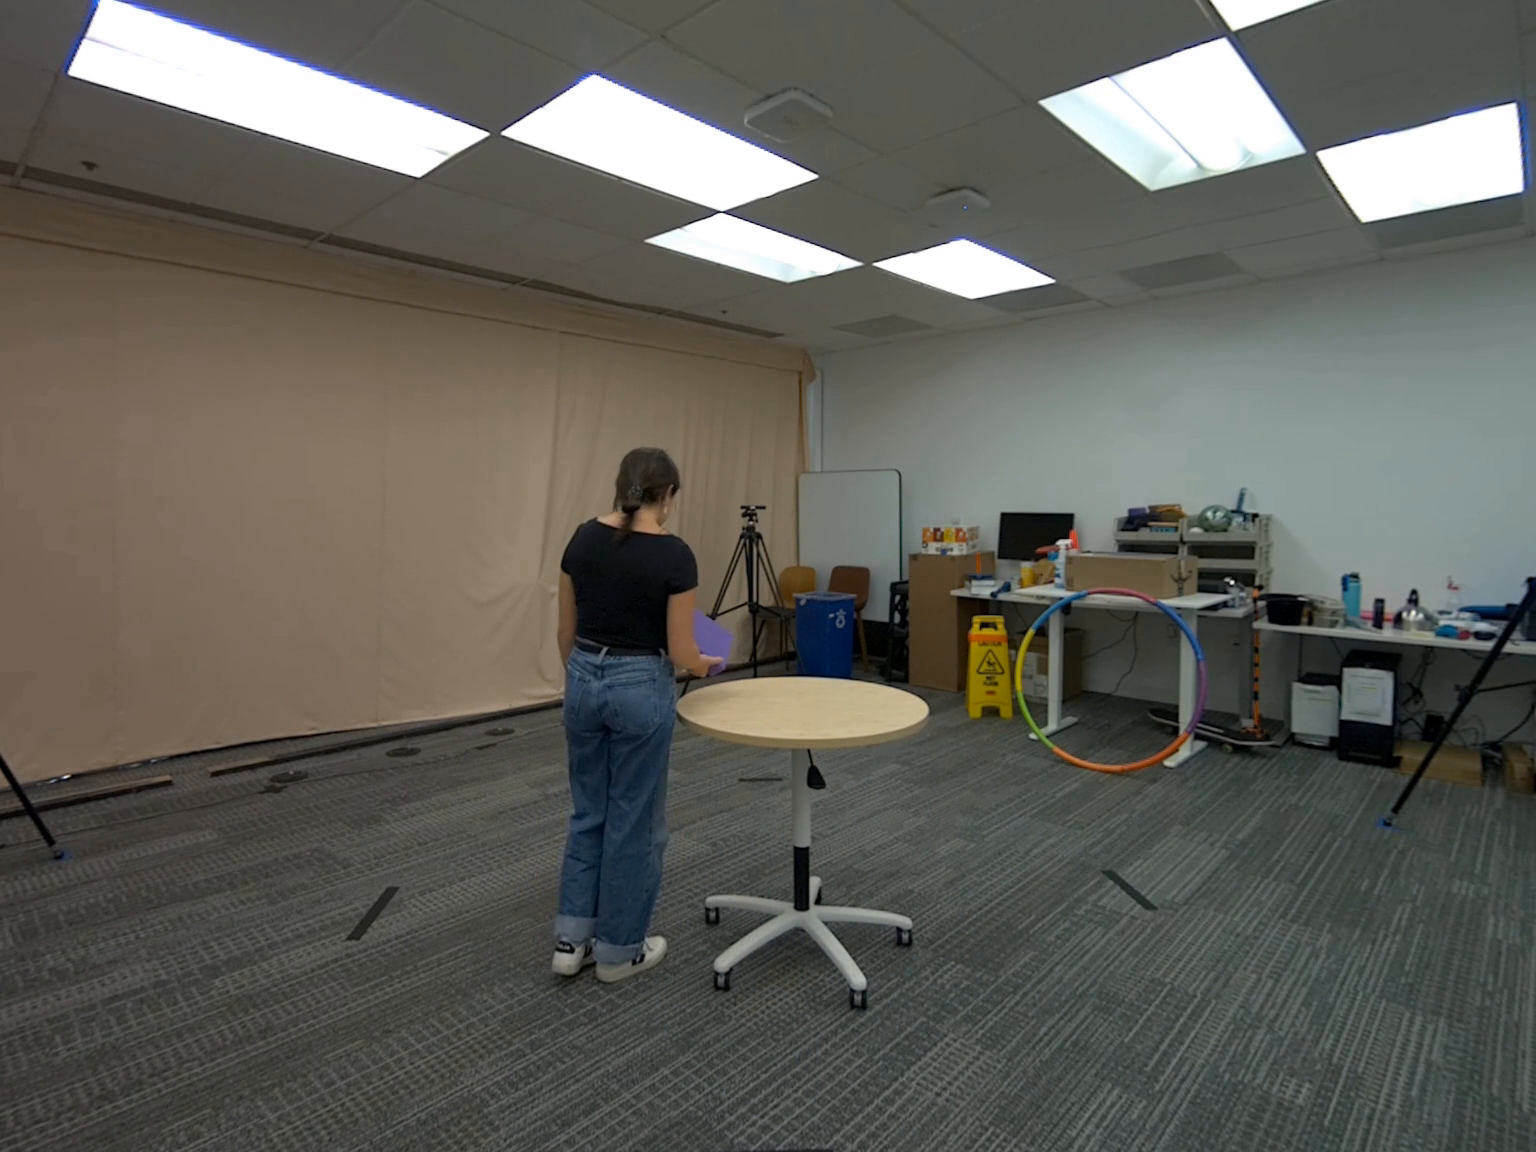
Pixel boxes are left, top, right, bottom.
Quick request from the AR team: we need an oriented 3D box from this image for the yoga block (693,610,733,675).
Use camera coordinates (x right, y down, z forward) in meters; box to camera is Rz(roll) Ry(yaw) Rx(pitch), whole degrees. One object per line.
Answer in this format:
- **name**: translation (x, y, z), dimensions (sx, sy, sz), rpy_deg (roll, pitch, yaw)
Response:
- **yoga block**: translation (-0.220, 0.204, 2.713), dimensions (0.224, 0.150, 0.077), rpy_deg (35, -46, -19)
